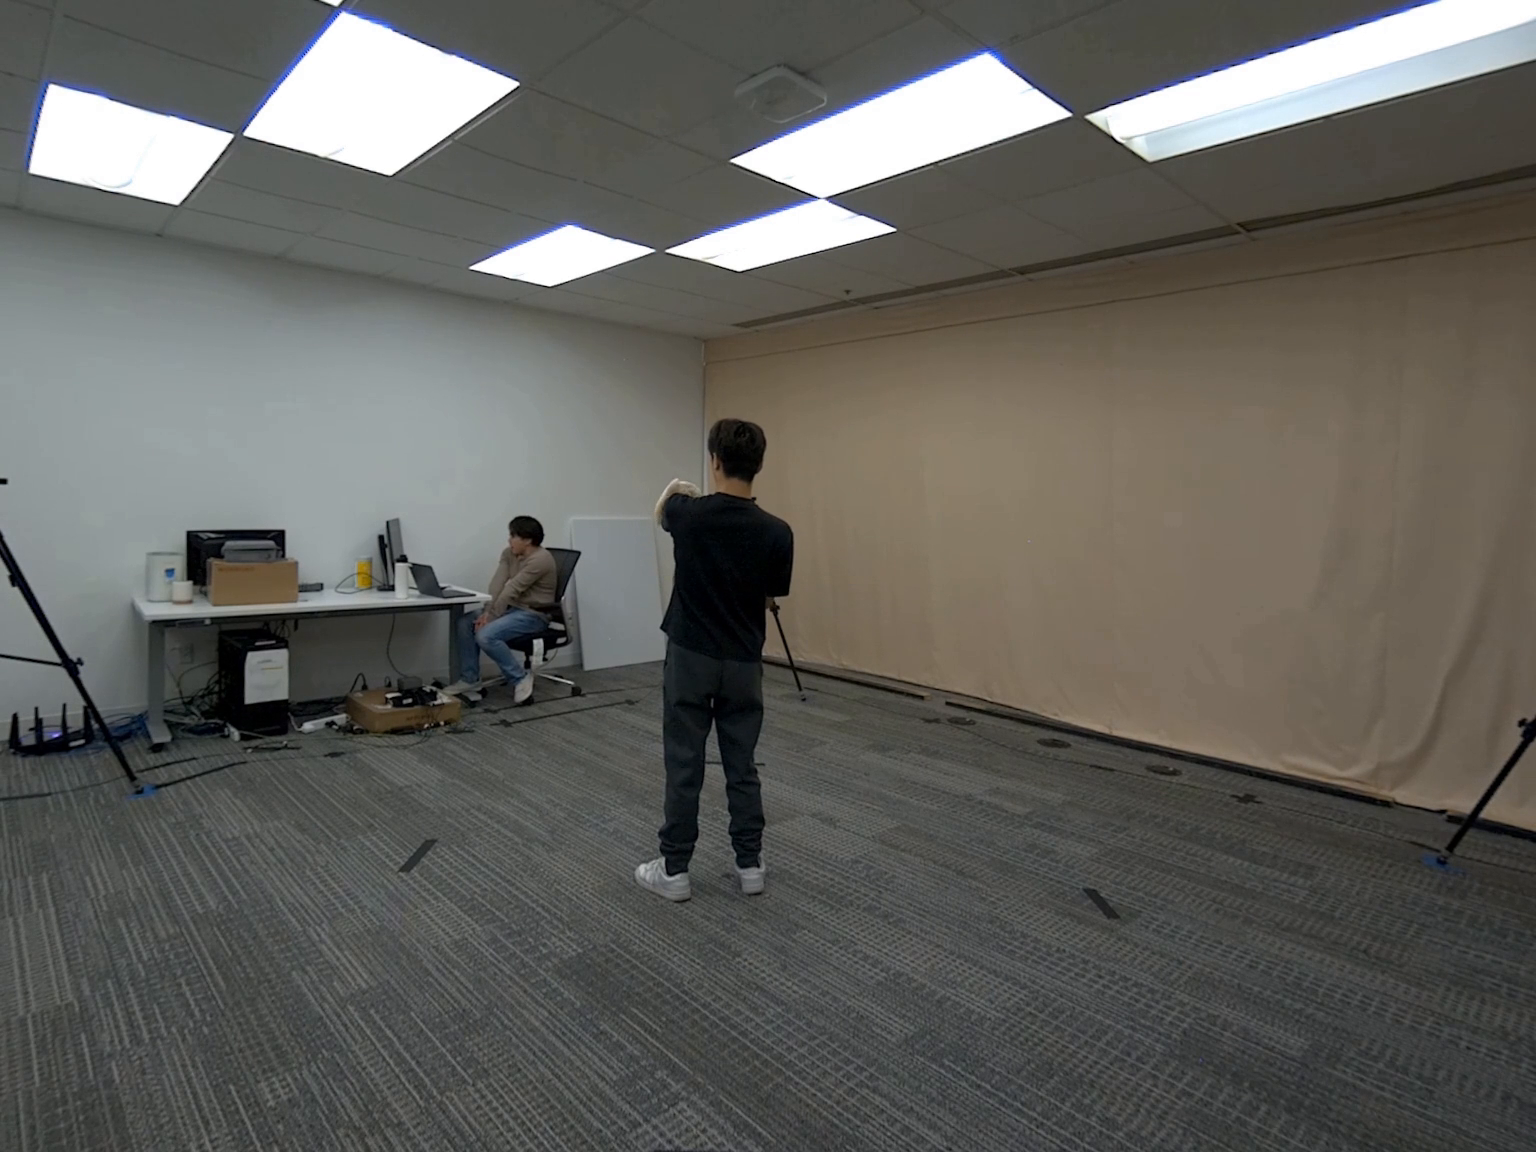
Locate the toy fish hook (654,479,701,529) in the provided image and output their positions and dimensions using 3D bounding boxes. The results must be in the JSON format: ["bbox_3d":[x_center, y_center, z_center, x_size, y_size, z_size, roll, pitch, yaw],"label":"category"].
[{"bbox_3d":[-0.377,-0.123,3.278,0.218,0.509,0.049,16,-11,-35],"label":"toy fish hook"}]
